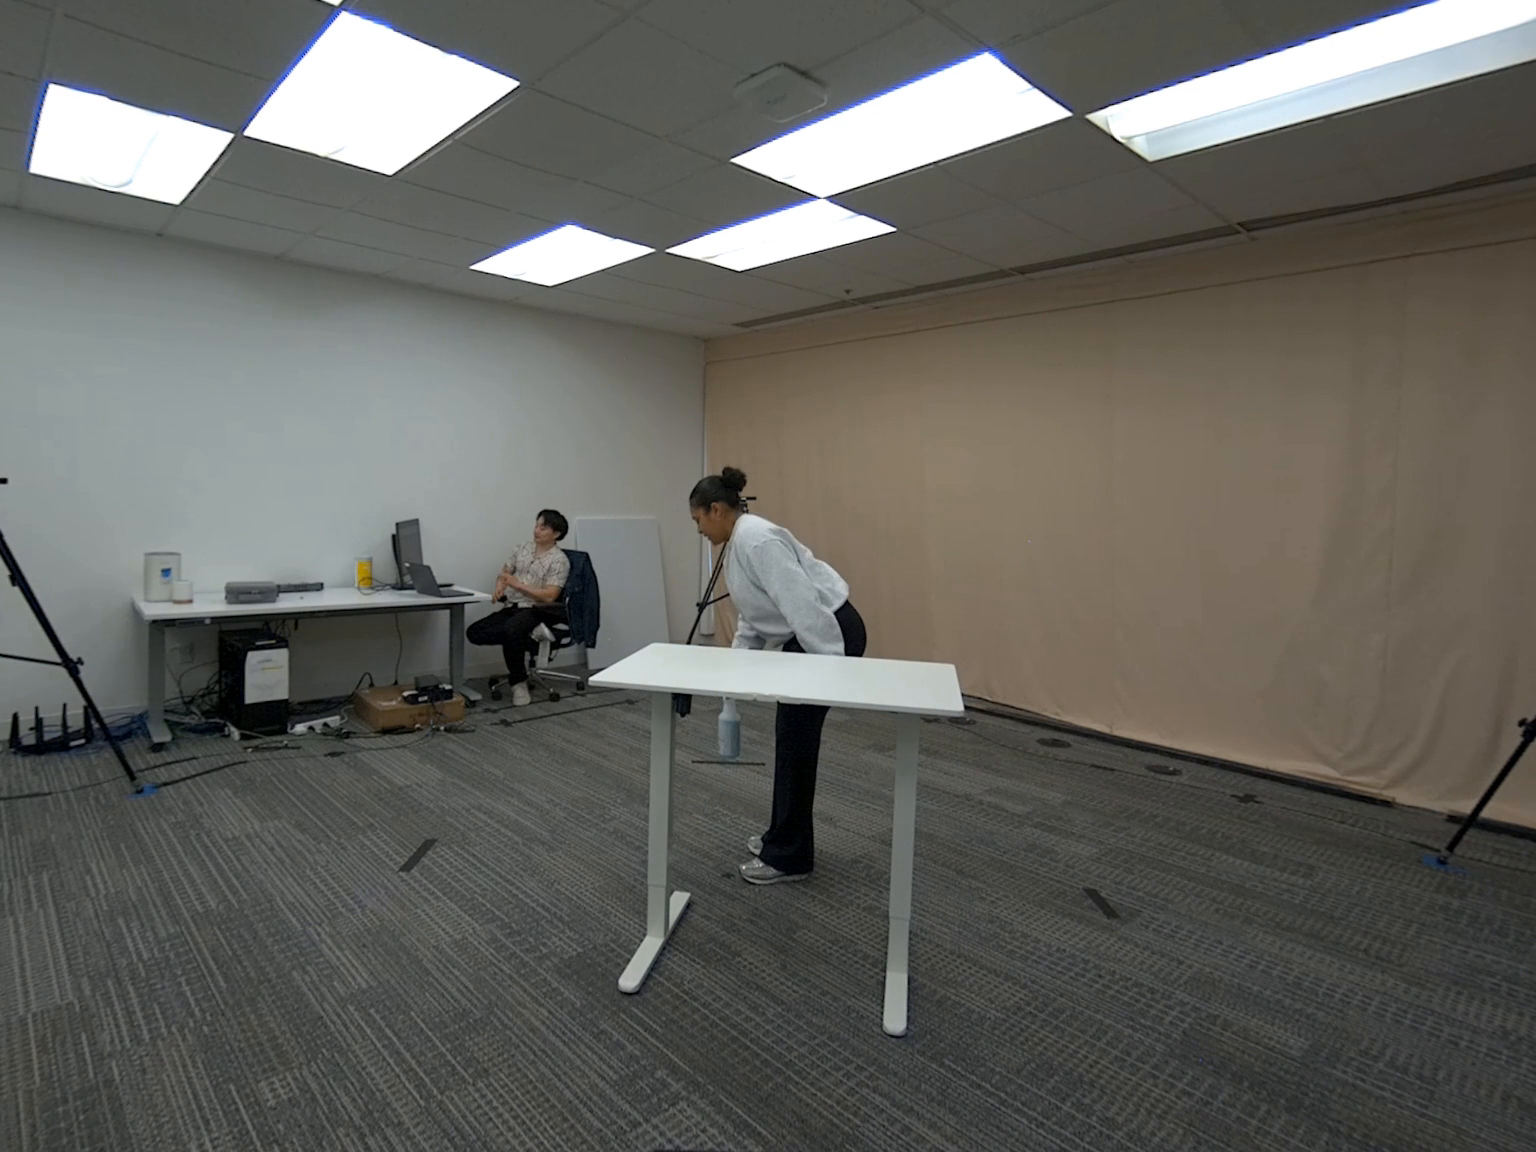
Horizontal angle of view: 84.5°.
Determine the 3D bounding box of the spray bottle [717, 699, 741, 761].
[{"bbox_3d":[-0.157,0.557,3.273,0.088,0.295,0.089,-7,12,-36],"label":"spray bottle"}]
